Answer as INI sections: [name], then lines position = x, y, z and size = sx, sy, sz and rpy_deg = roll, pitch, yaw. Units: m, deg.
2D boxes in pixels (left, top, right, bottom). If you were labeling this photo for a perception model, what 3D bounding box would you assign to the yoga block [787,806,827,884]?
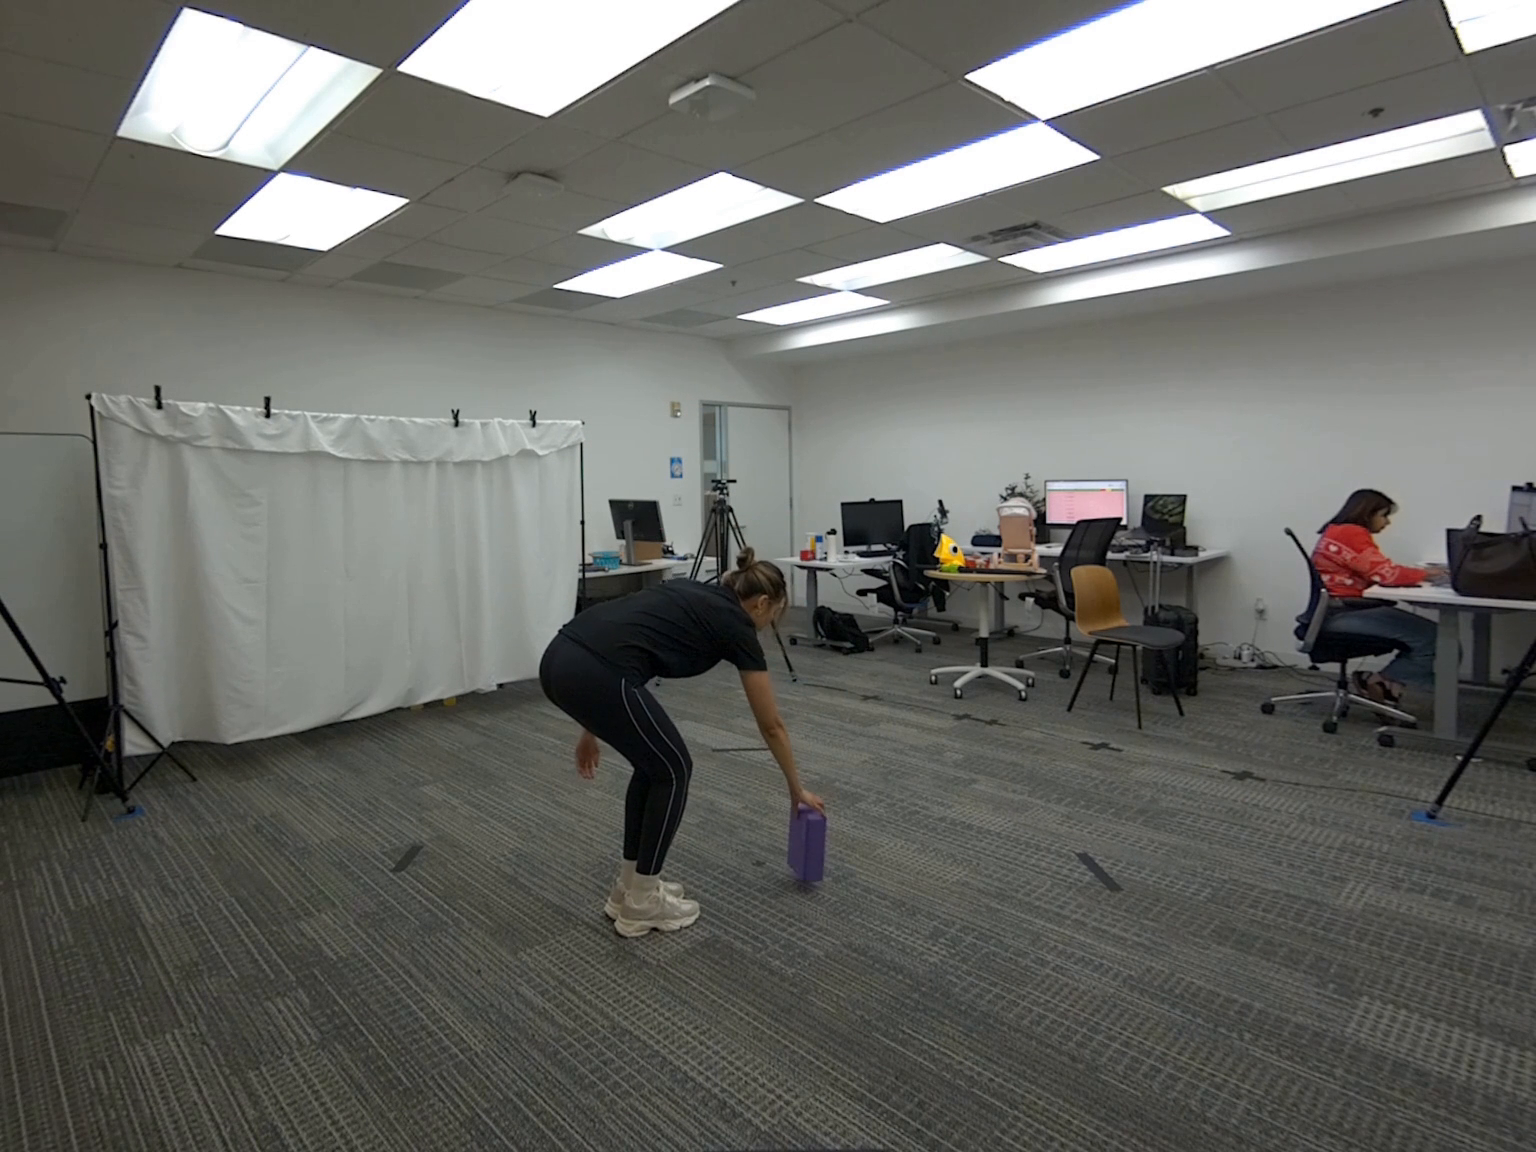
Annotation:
[yoga block]
position = 0.138, 0.901, 2.941
size = 0.075, 0.229, 0.152
rpy_deg = 0, 3, -18
